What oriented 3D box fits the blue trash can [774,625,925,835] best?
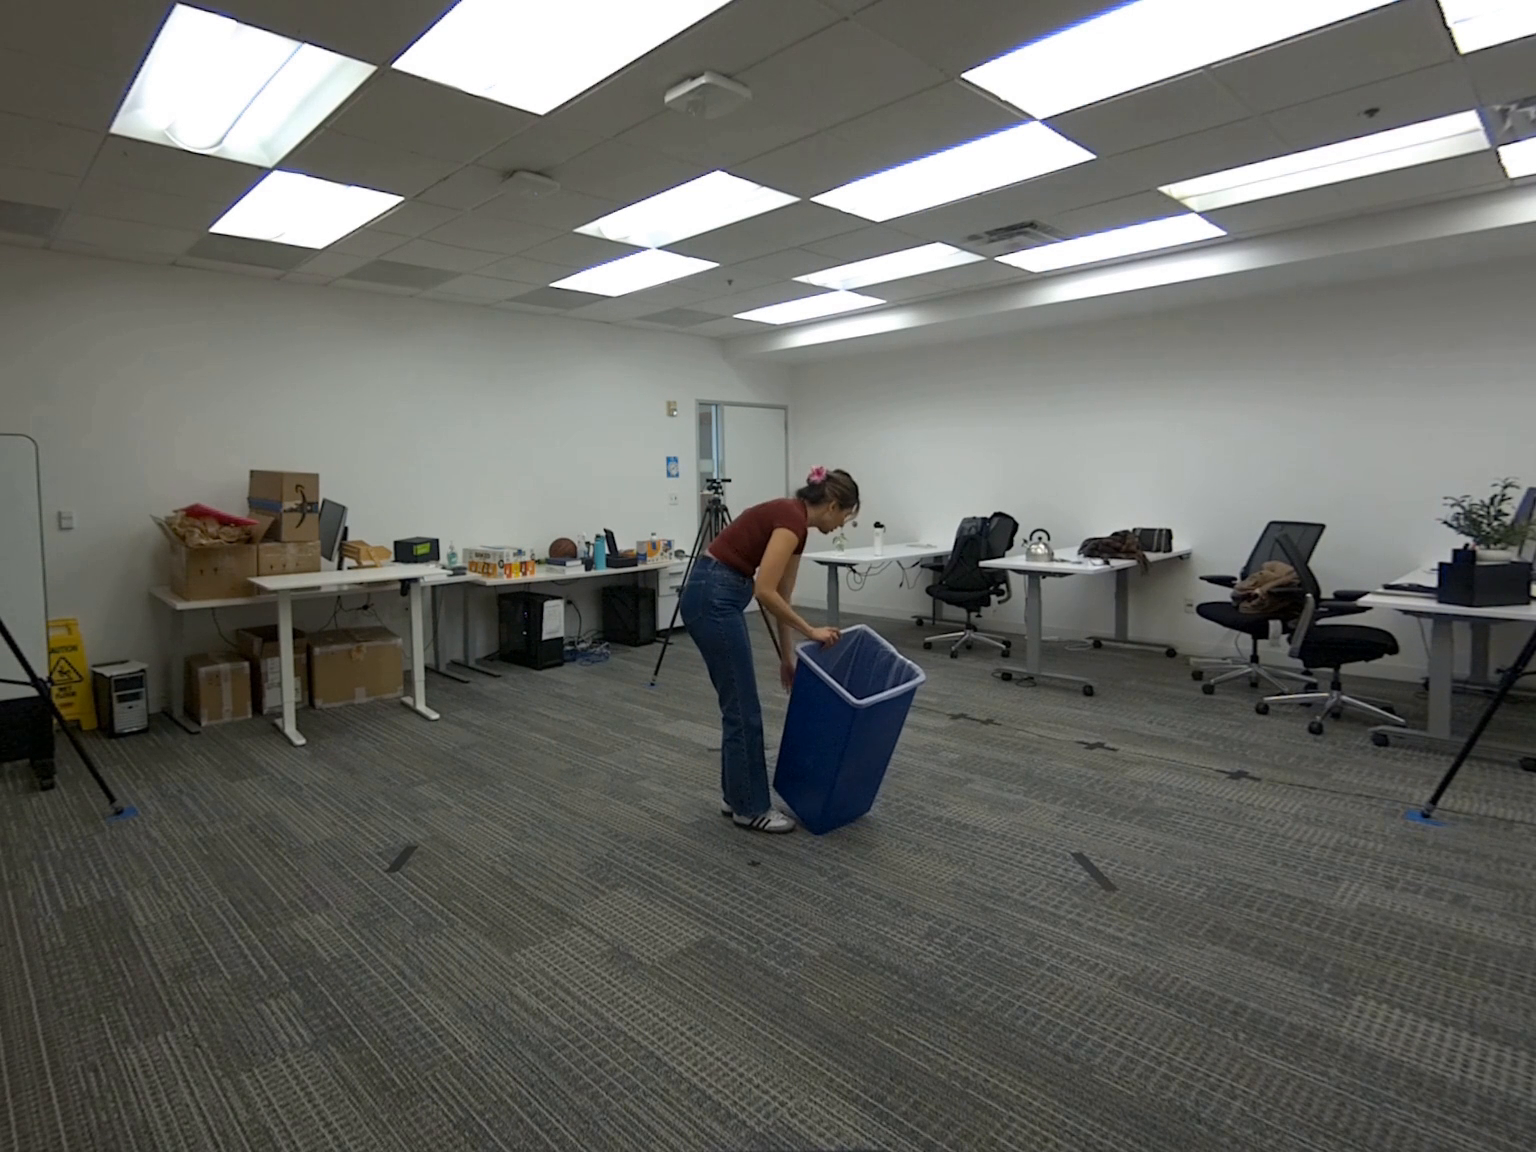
[{"bbox_3d":[0.292,0.622,3.342,0.366,0.701,0.393,-11,36,-36],"label":"blue trash can"}]
